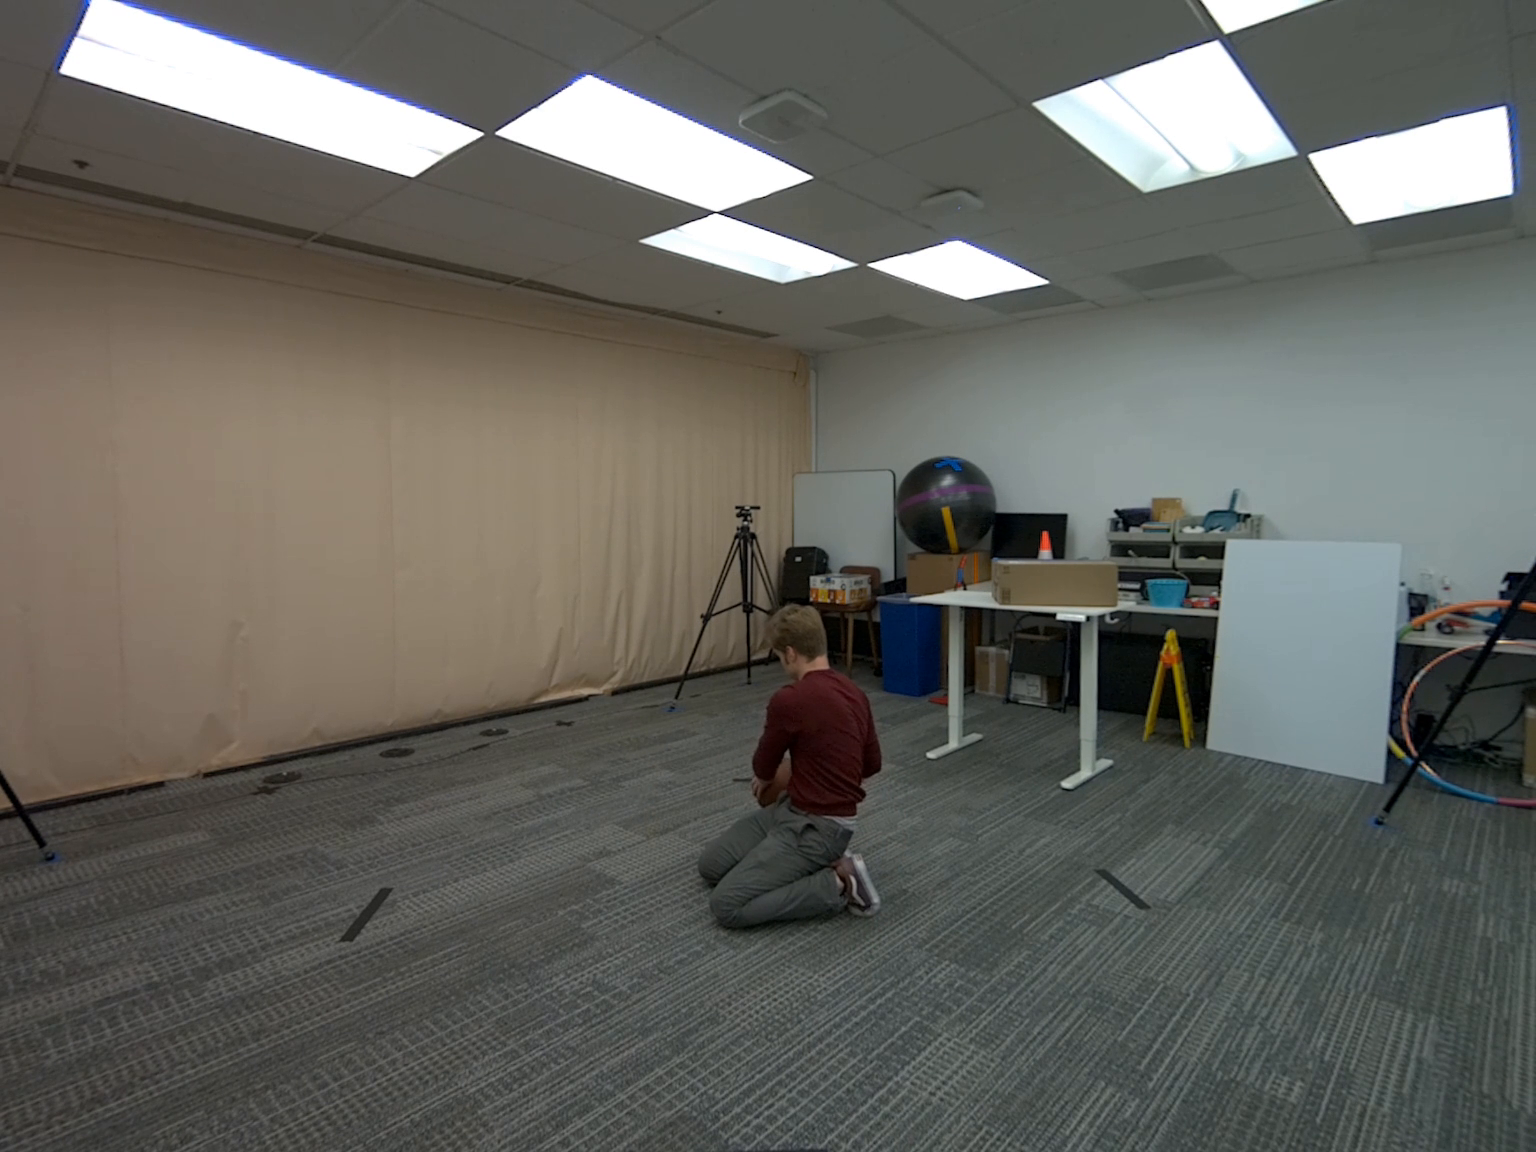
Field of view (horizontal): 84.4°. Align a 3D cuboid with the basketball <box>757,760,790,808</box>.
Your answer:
[{"bbox_3d":[0.060,0.838,3.397,0.236,0.235,0.237,0,4,-2],"label":"basketball"}]
